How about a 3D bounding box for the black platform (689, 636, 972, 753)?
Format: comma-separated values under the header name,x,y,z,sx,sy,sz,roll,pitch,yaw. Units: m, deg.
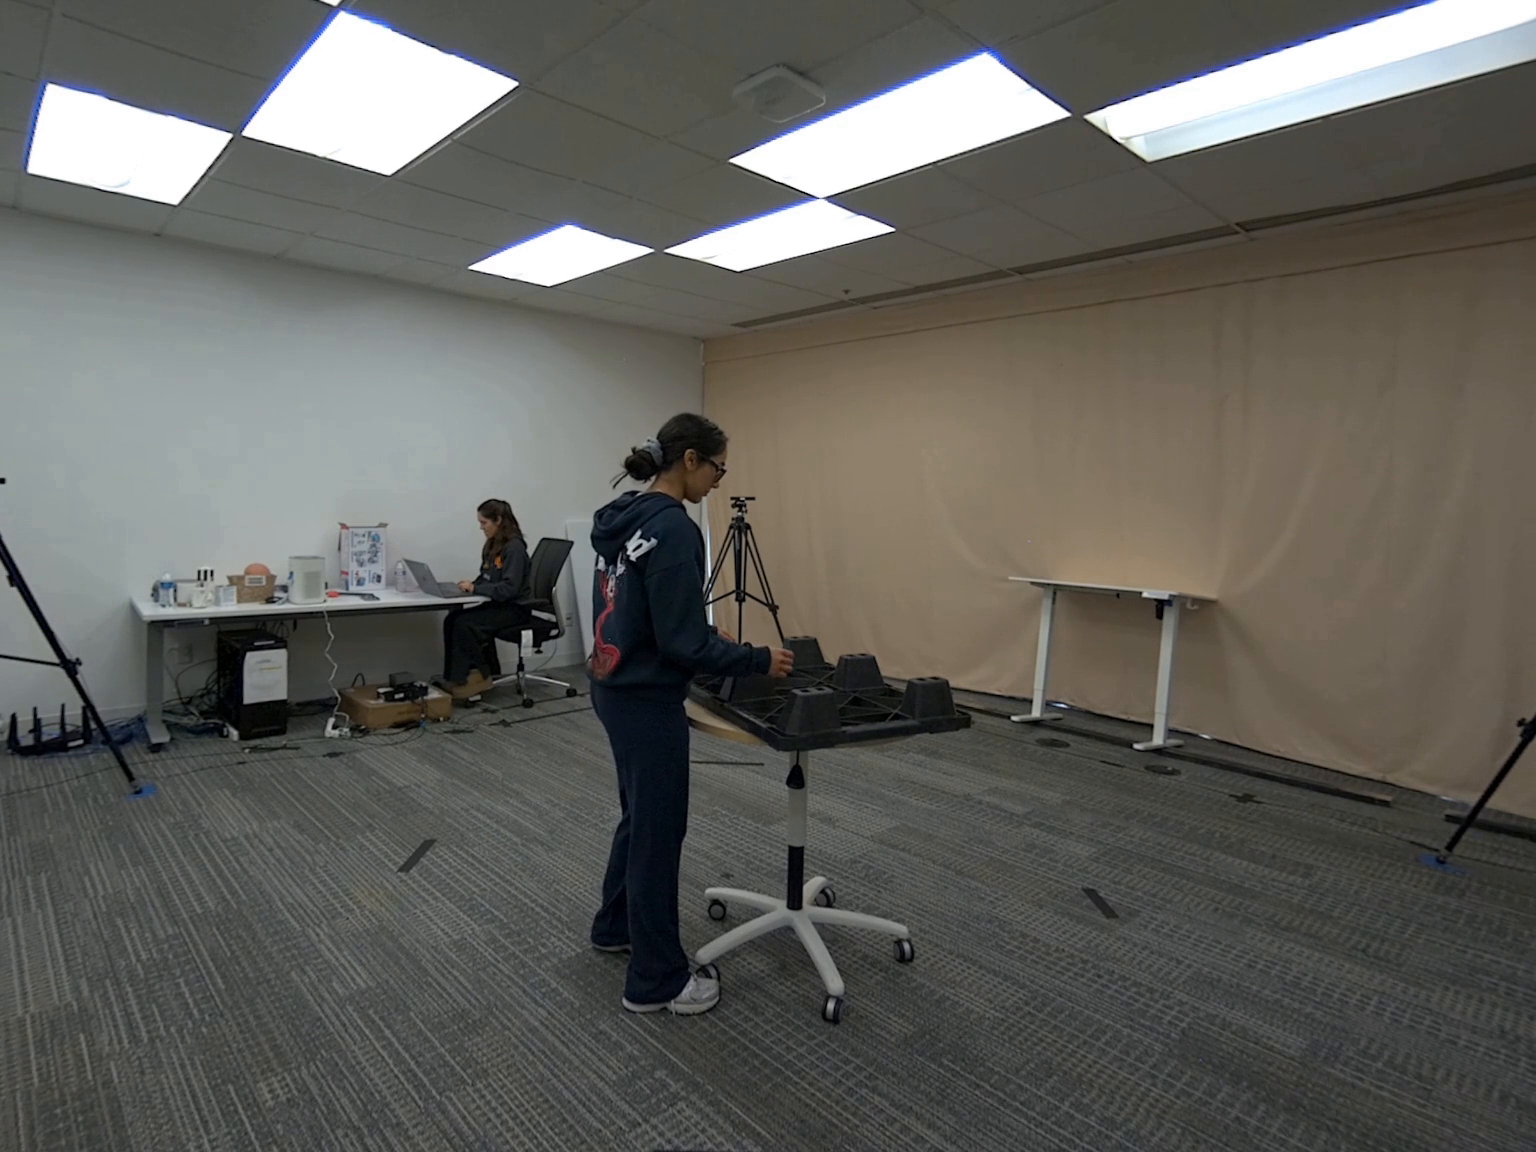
name,x,y,z,sx,sy,sz,roll,pitch,yaw
black platform,0.119,0.323,2.524,0.594,0.143,0.823,-3,7,-27
